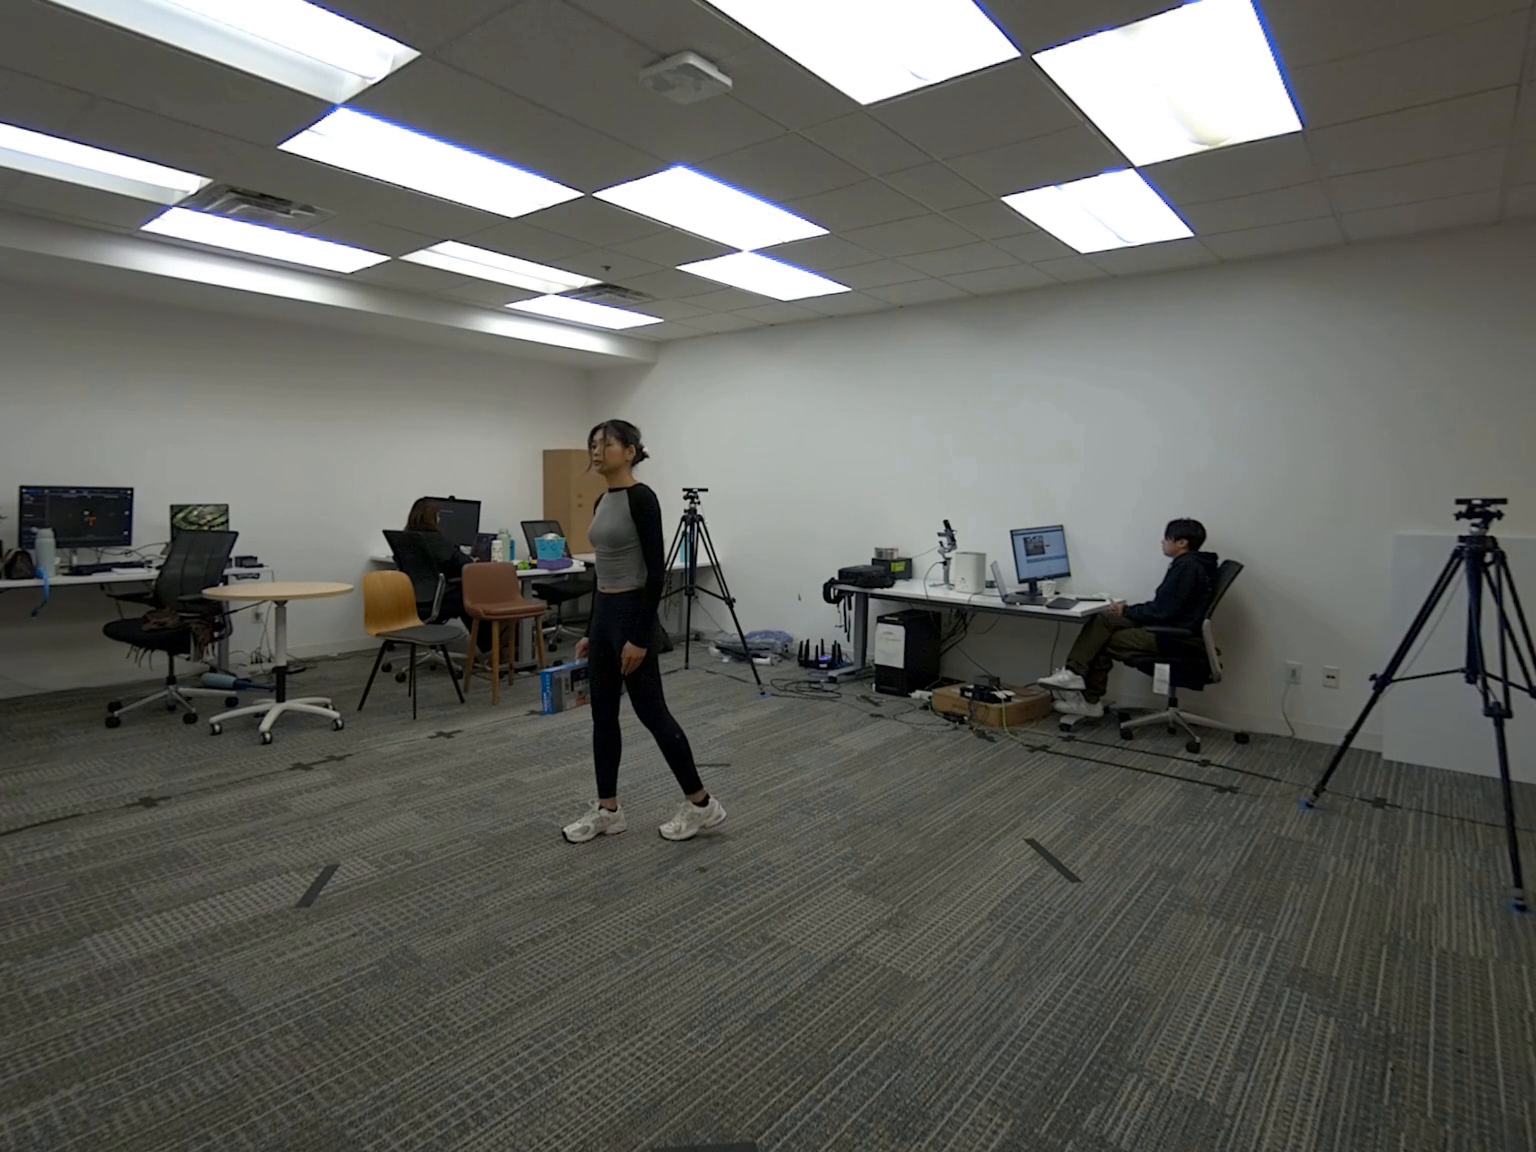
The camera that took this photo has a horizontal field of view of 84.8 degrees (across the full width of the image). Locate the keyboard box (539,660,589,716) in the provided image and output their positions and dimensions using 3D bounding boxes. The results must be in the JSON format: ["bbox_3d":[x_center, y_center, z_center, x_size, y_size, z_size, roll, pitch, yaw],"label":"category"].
[{"bbox_3d":[-0.763,0.437,3.511,0.061,0.175,0.425,0,5,33],"label":"keyboard box"}]
